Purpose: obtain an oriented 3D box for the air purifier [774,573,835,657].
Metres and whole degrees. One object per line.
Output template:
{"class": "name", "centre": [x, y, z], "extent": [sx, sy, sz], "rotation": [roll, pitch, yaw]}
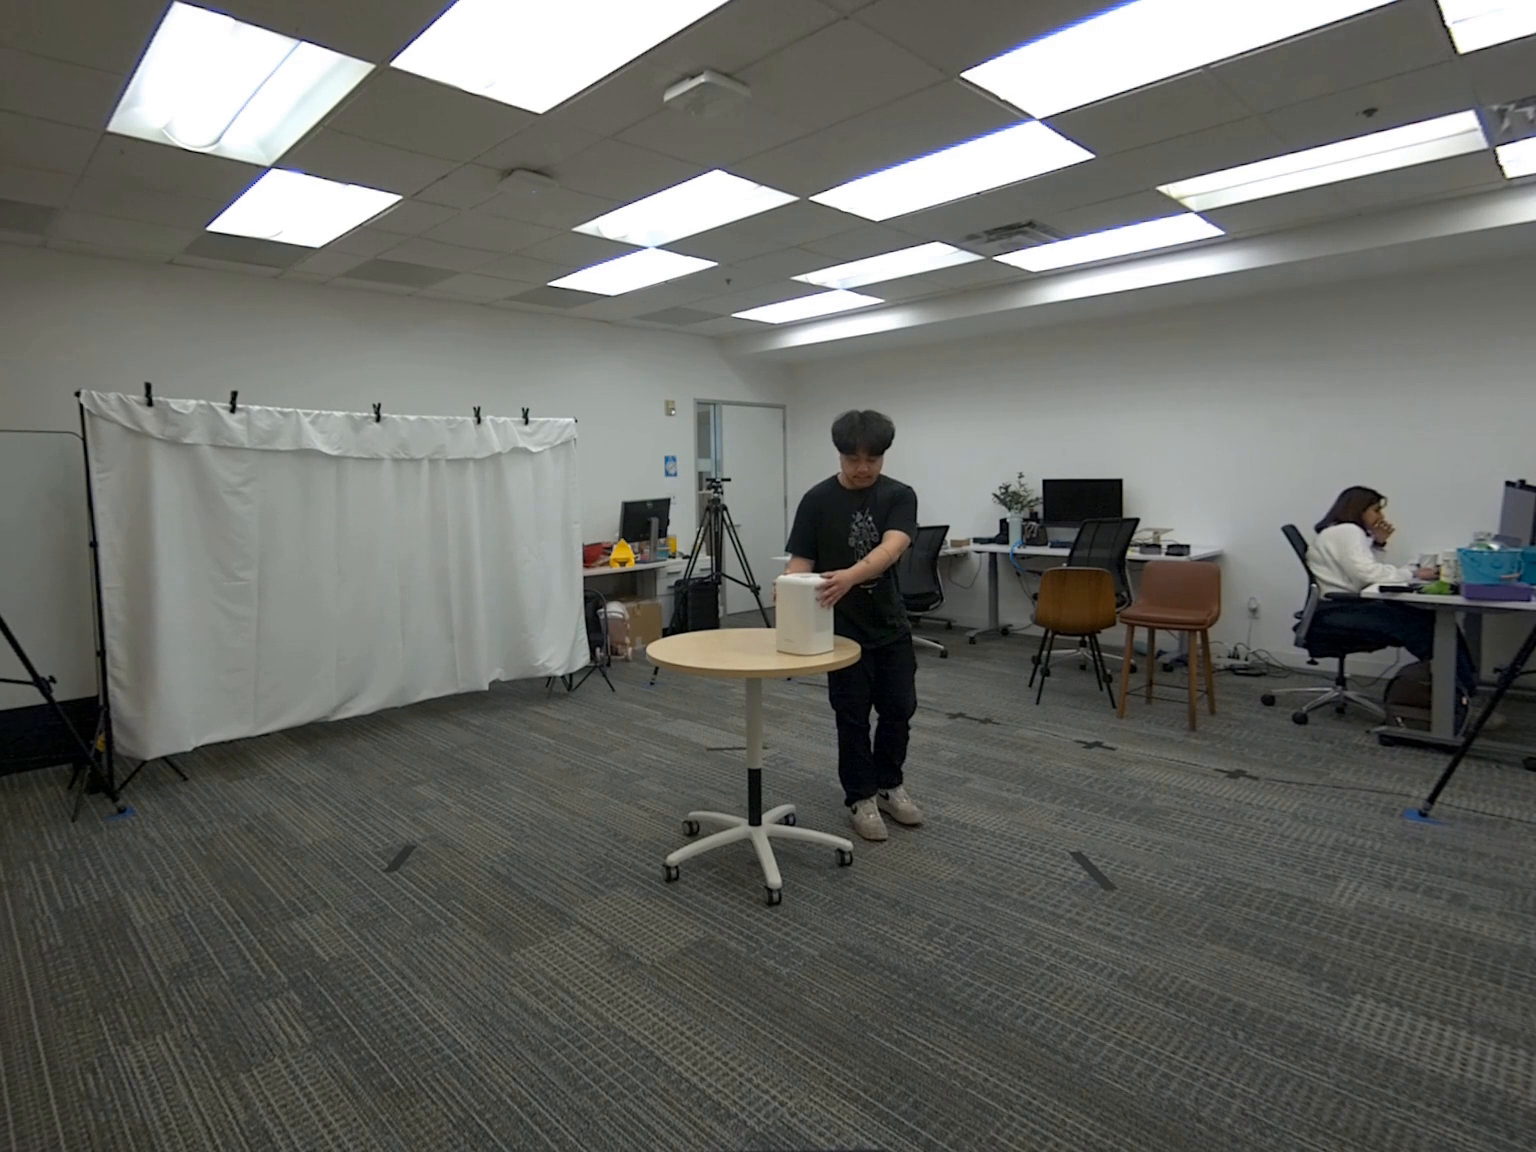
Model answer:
{"class": "air purifier", "centre": [0.130, 0.129, 2.972], "extent": [0.176, 0.264, 0.167], "rotation": [5, 7, 43]}
